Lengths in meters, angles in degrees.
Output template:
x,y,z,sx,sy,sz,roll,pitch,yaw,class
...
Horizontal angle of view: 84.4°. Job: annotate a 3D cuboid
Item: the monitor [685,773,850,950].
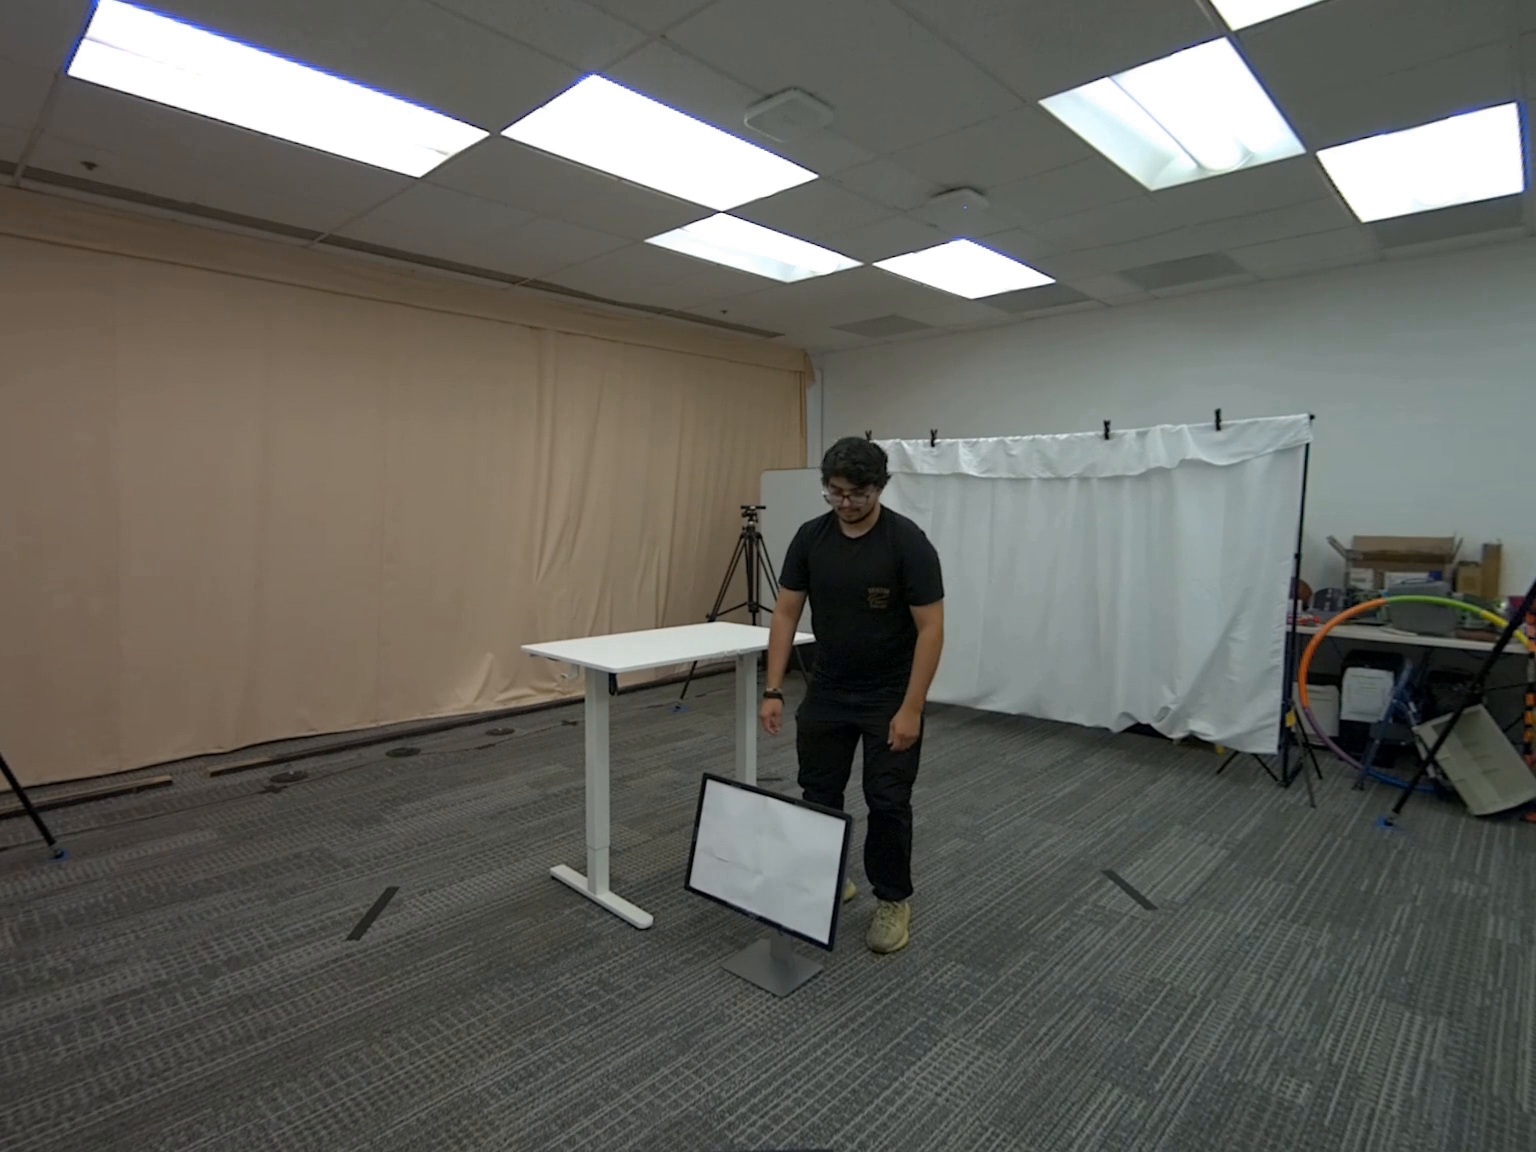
x,y,z,sx,sy,sz,roll,pitch,yaw,class
0.029,0.914,2.539,0.584,0.554,0.203,4,-1,41,monitor
